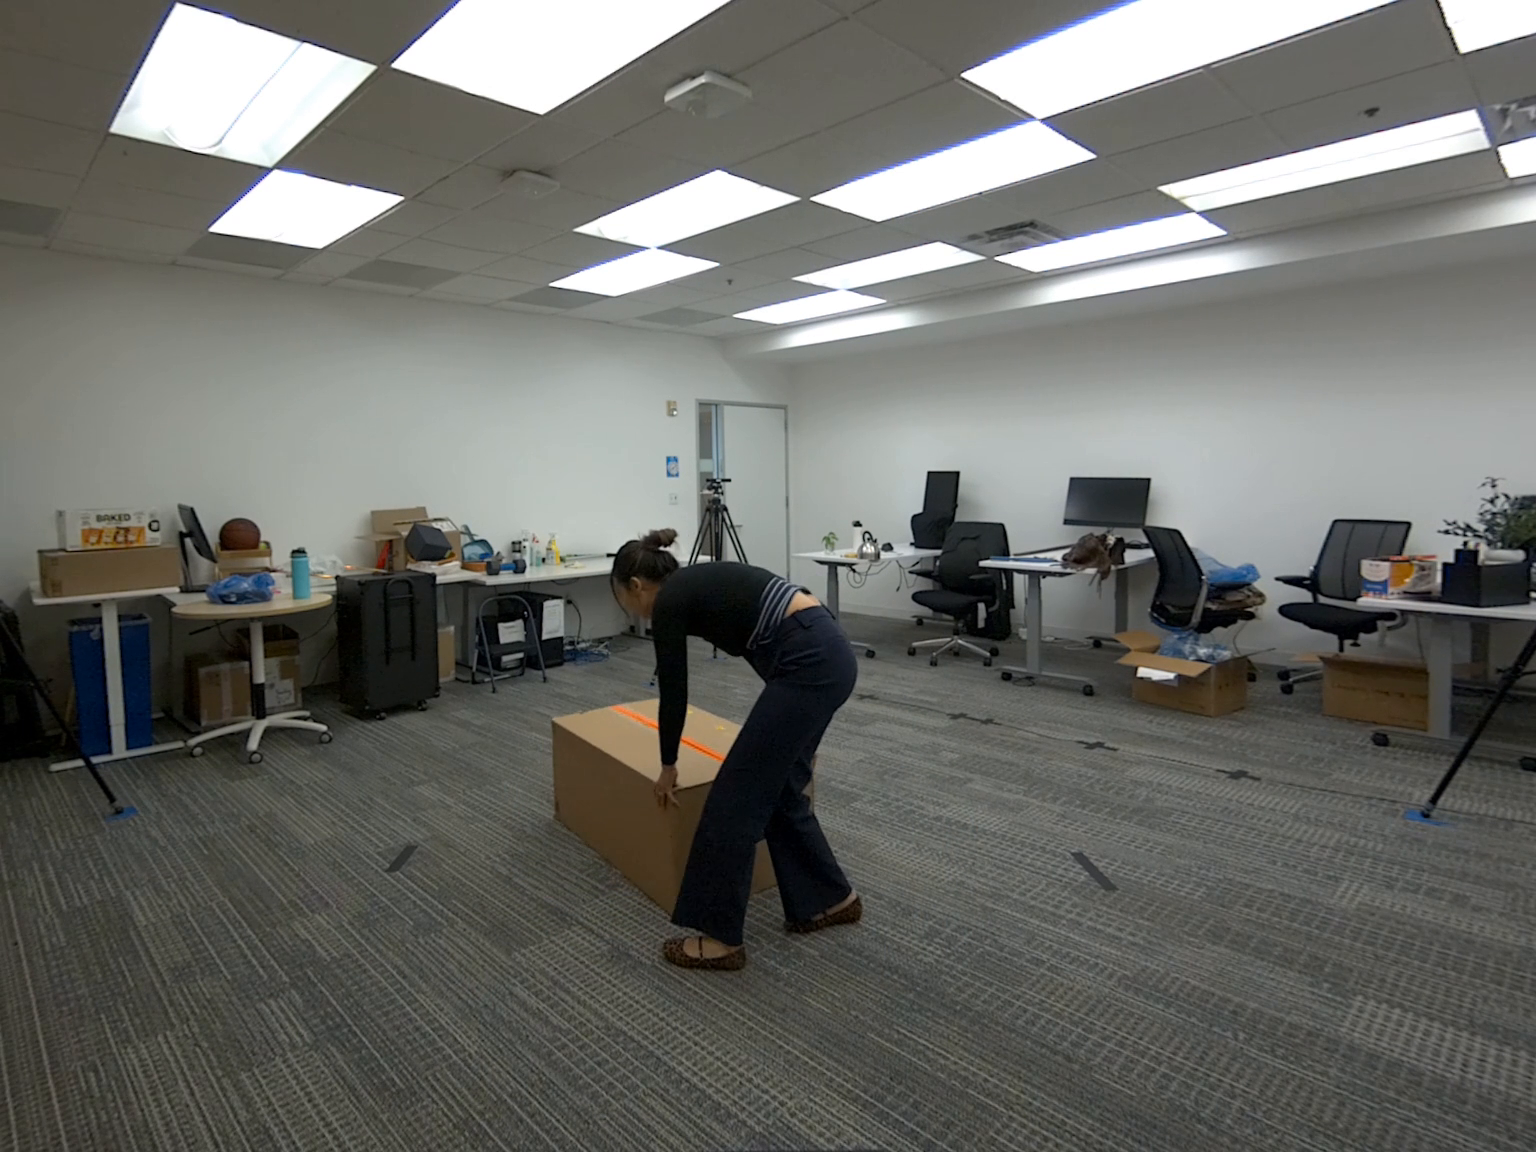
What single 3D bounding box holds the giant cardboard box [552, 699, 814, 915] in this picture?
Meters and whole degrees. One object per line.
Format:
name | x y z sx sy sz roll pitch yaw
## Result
giant cardboard box | -0.362 0.818 3.279 0.563 0.424 1.056 -4 7 -34
